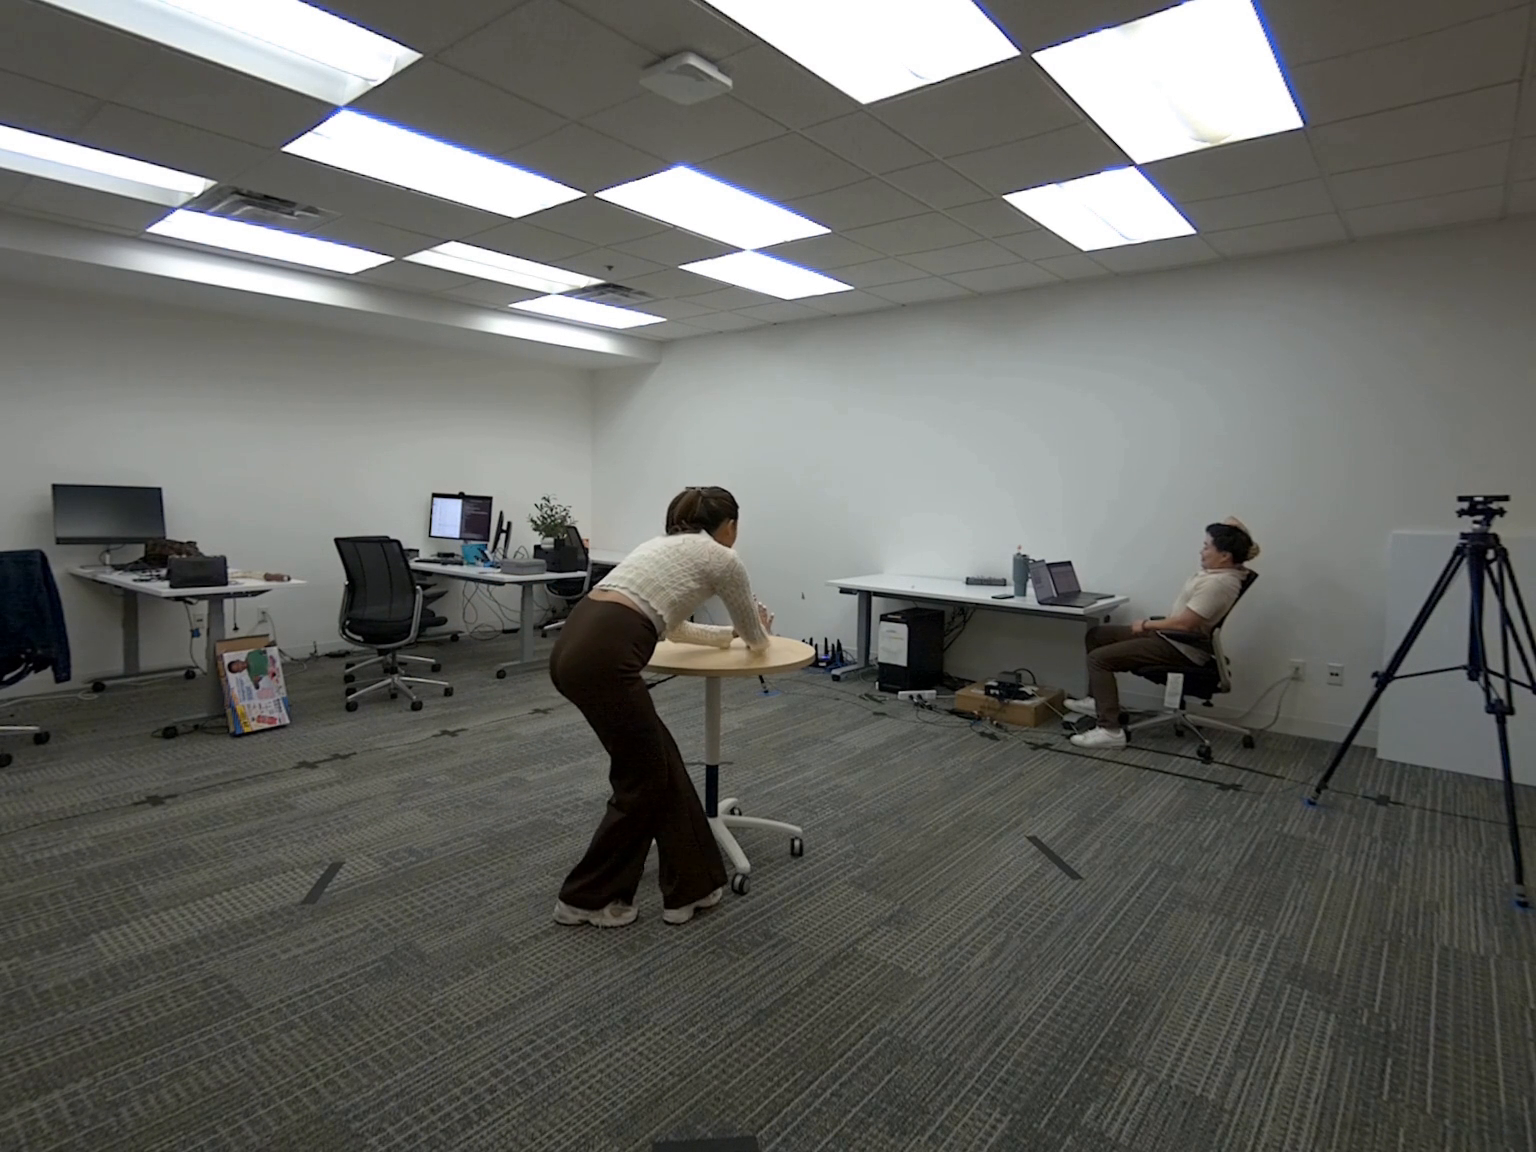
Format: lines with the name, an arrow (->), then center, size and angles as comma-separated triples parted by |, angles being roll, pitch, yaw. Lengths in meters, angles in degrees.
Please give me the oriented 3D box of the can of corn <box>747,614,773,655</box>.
can of corn -> -0.051, 0.214, 3.252 | 0.074, 0.110, 0.075 | 4, 6, -2
